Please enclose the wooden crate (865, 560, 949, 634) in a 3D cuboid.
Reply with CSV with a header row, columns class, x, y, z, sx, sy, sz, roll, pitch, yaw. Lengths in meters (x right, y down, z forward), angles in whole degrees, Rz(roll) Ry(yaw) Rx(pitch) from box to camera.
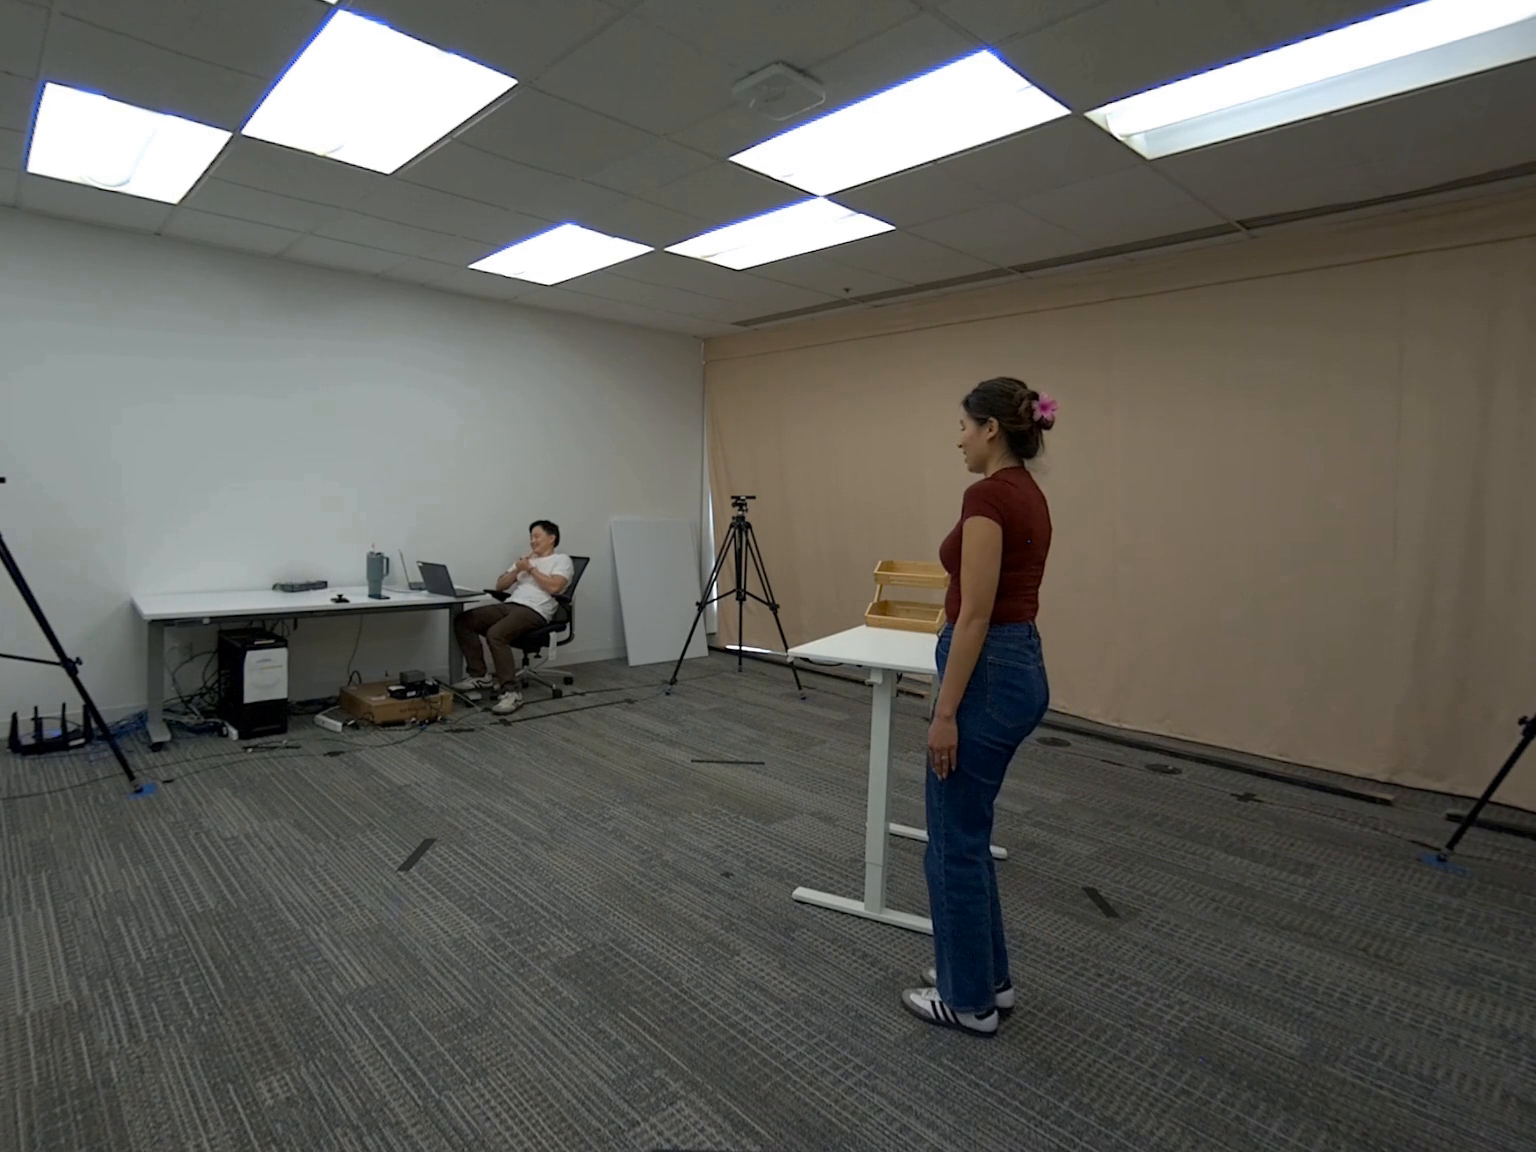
class,x,y,z,sx,sy,sz,roll,pitch,yaw
wooden crate,0.591,0.076,3.470,0.331,0.272,0.296,5,4,26
